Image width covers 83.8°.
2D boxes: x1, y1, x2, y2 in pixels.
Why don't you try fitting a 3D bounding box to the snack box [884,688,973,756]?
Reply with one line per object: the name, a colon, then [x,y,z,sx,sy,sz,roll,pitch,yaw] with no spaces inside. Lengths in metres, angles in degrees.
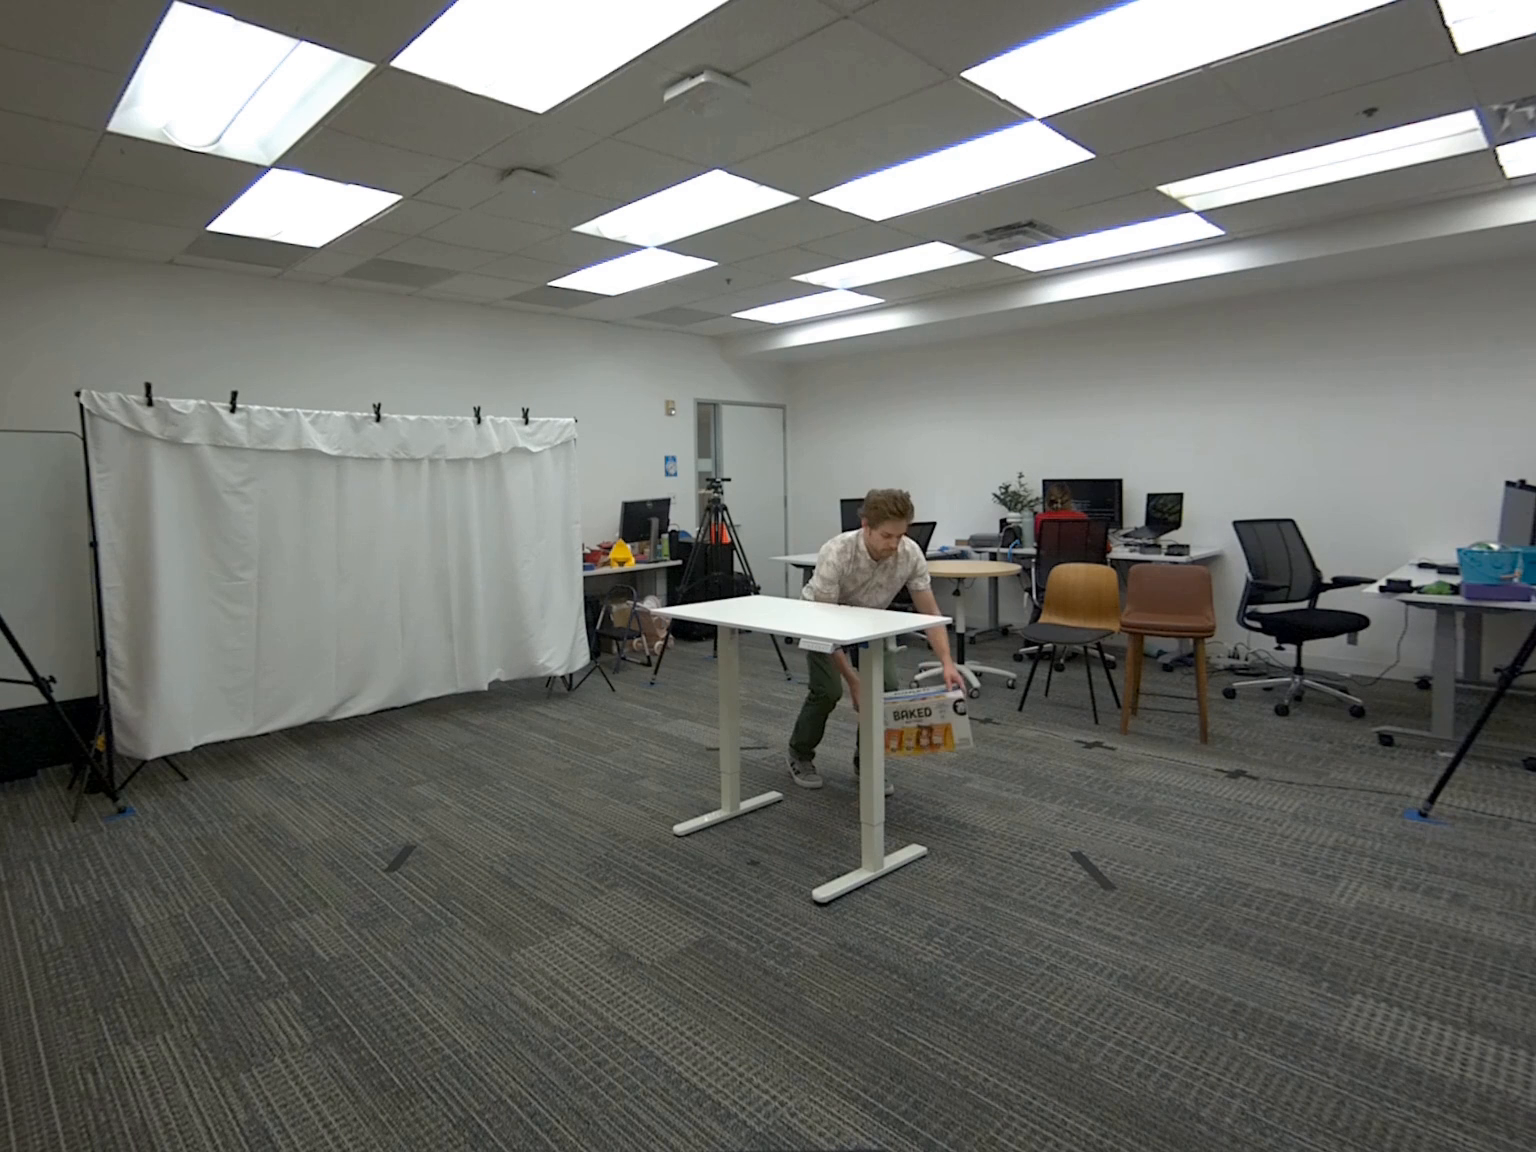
snack box: [0.594,0.585,3.463,0.409,0.206,0.336,-9,-1,11]
